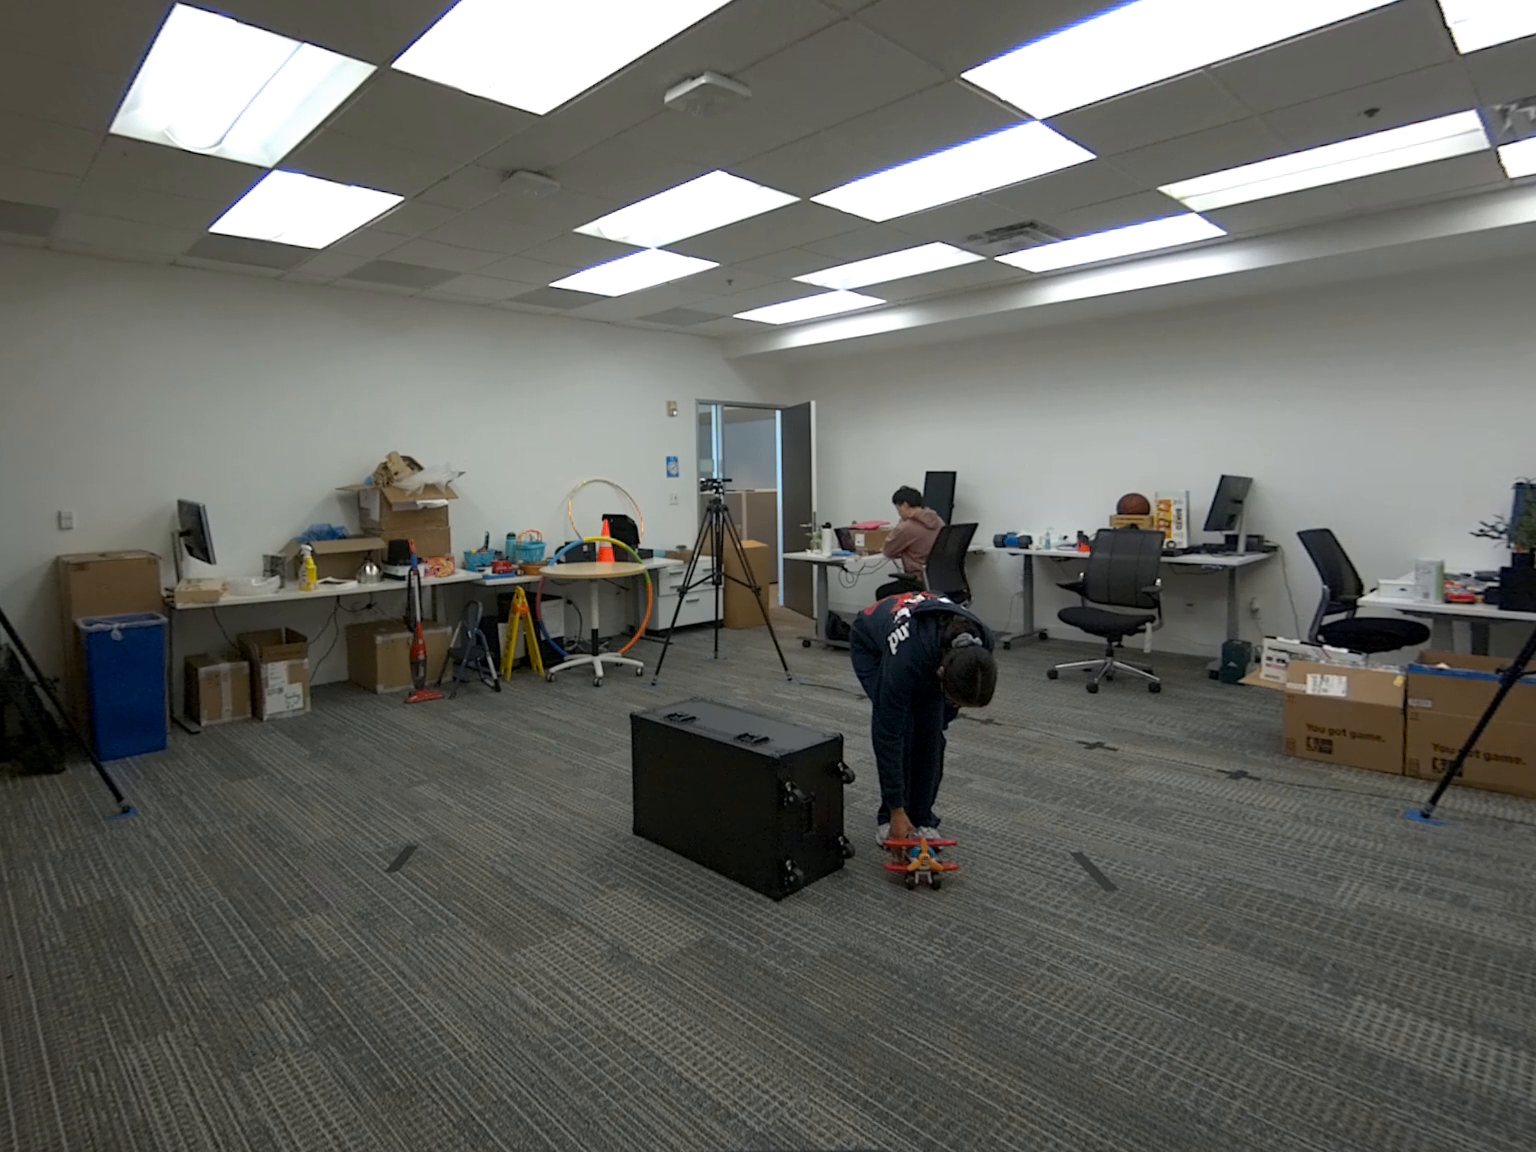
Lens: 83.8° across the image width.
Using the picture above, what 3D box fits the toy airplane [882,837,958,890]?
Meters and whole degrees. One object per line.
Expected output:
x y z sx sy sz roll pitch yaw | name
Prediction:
0.503 0.977 2.958 0.246 0.156 0.265 -5 7 -24 | toy airplane
